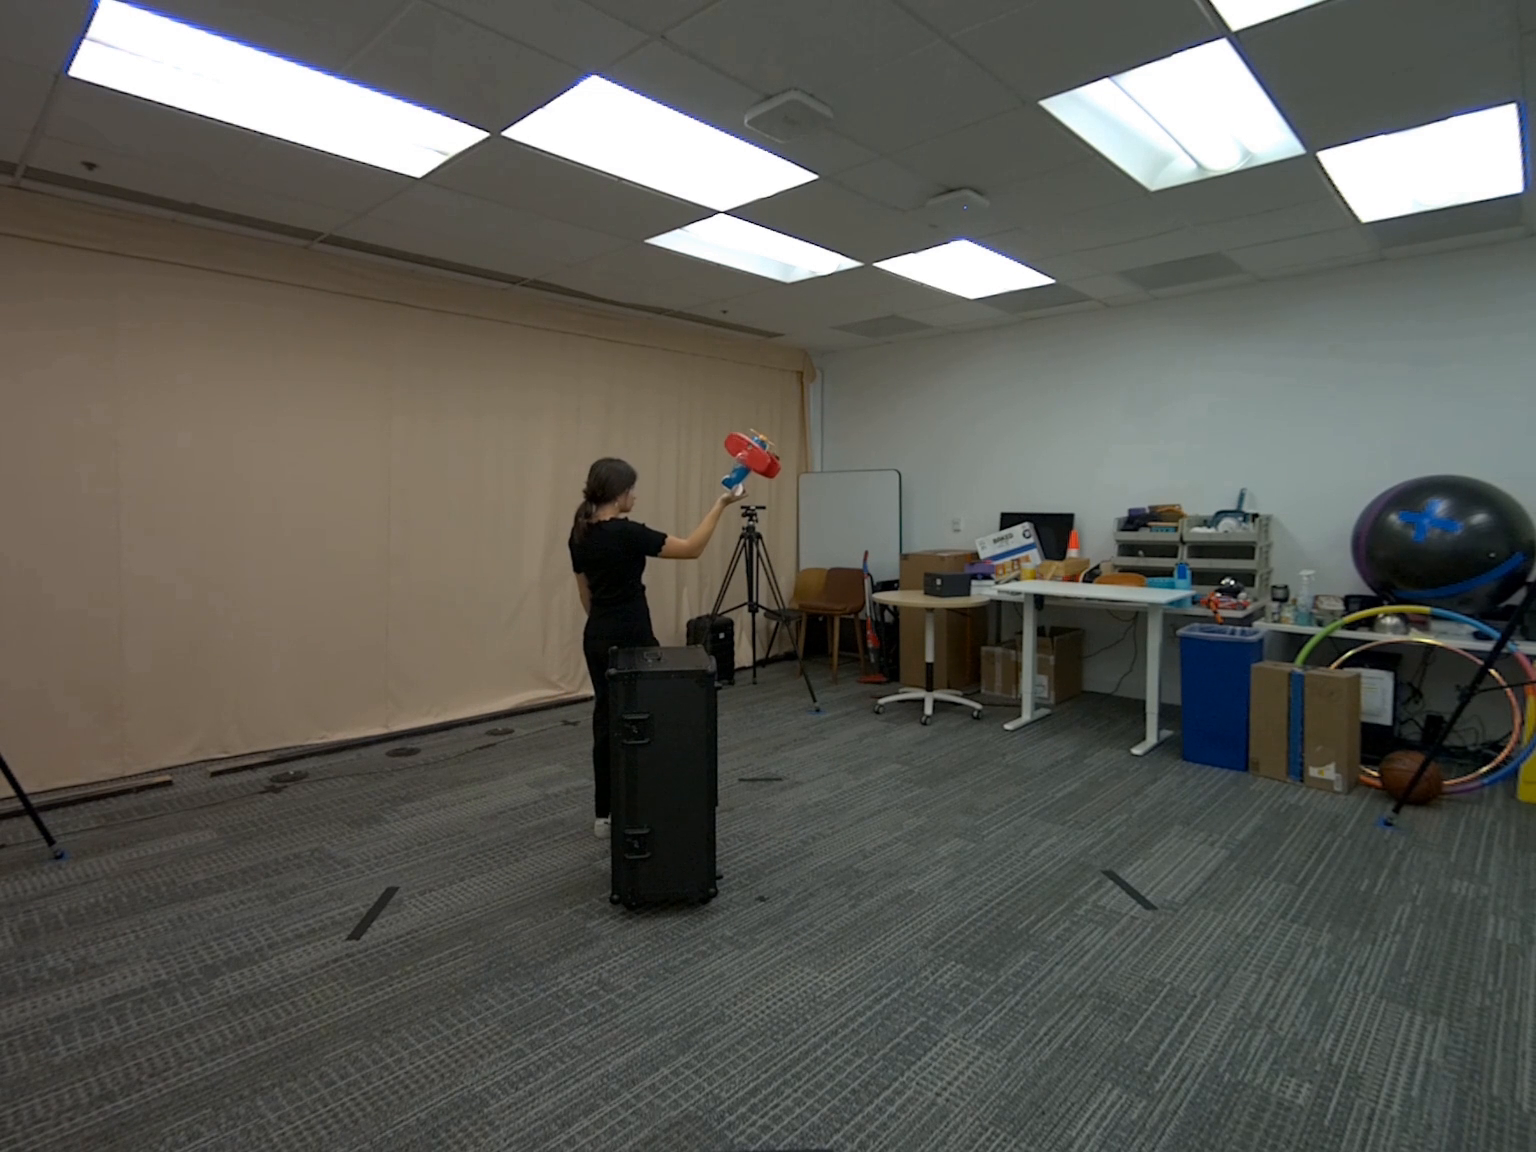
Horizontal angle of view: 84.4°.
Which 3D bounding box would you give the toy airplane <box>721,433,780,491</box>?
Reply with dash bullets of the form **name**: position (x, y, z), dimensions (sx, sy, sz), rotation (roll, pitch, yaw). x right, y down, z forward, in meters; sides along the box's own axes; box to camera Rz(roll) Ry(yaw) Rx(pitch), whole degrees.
- **toy airplane**: position (-0.064, -0.442, 3.410), dimensions (0.258, 0.260, 0.151), rotation (8, -21, 29)
